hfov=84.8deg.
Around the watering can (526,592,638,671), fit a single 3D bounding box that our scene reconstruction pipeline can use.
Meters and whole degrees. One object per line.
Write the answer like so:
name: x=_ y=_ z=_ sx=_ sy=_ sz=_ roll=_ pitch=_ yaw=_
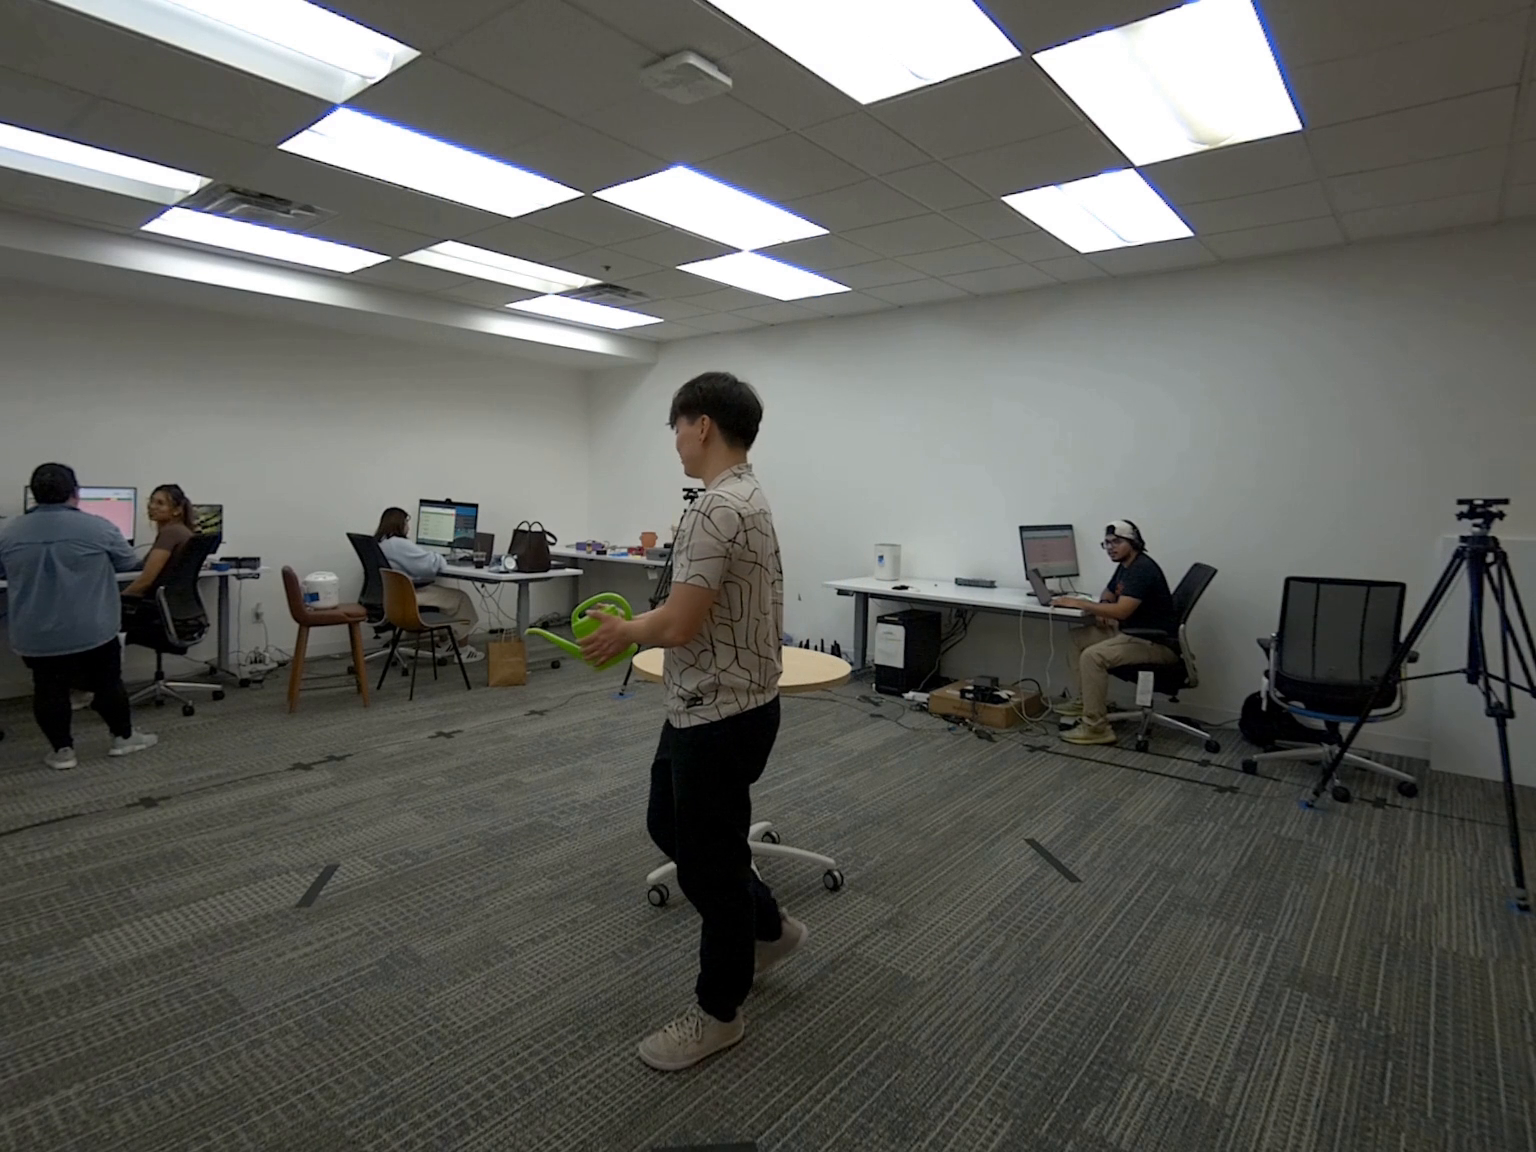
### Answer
watering can: x=-0.478 y=0.157 z=2.209 sx=0.281 sy=0.176 sz=0.098 roll=-24 pitch=6 yaw=16
